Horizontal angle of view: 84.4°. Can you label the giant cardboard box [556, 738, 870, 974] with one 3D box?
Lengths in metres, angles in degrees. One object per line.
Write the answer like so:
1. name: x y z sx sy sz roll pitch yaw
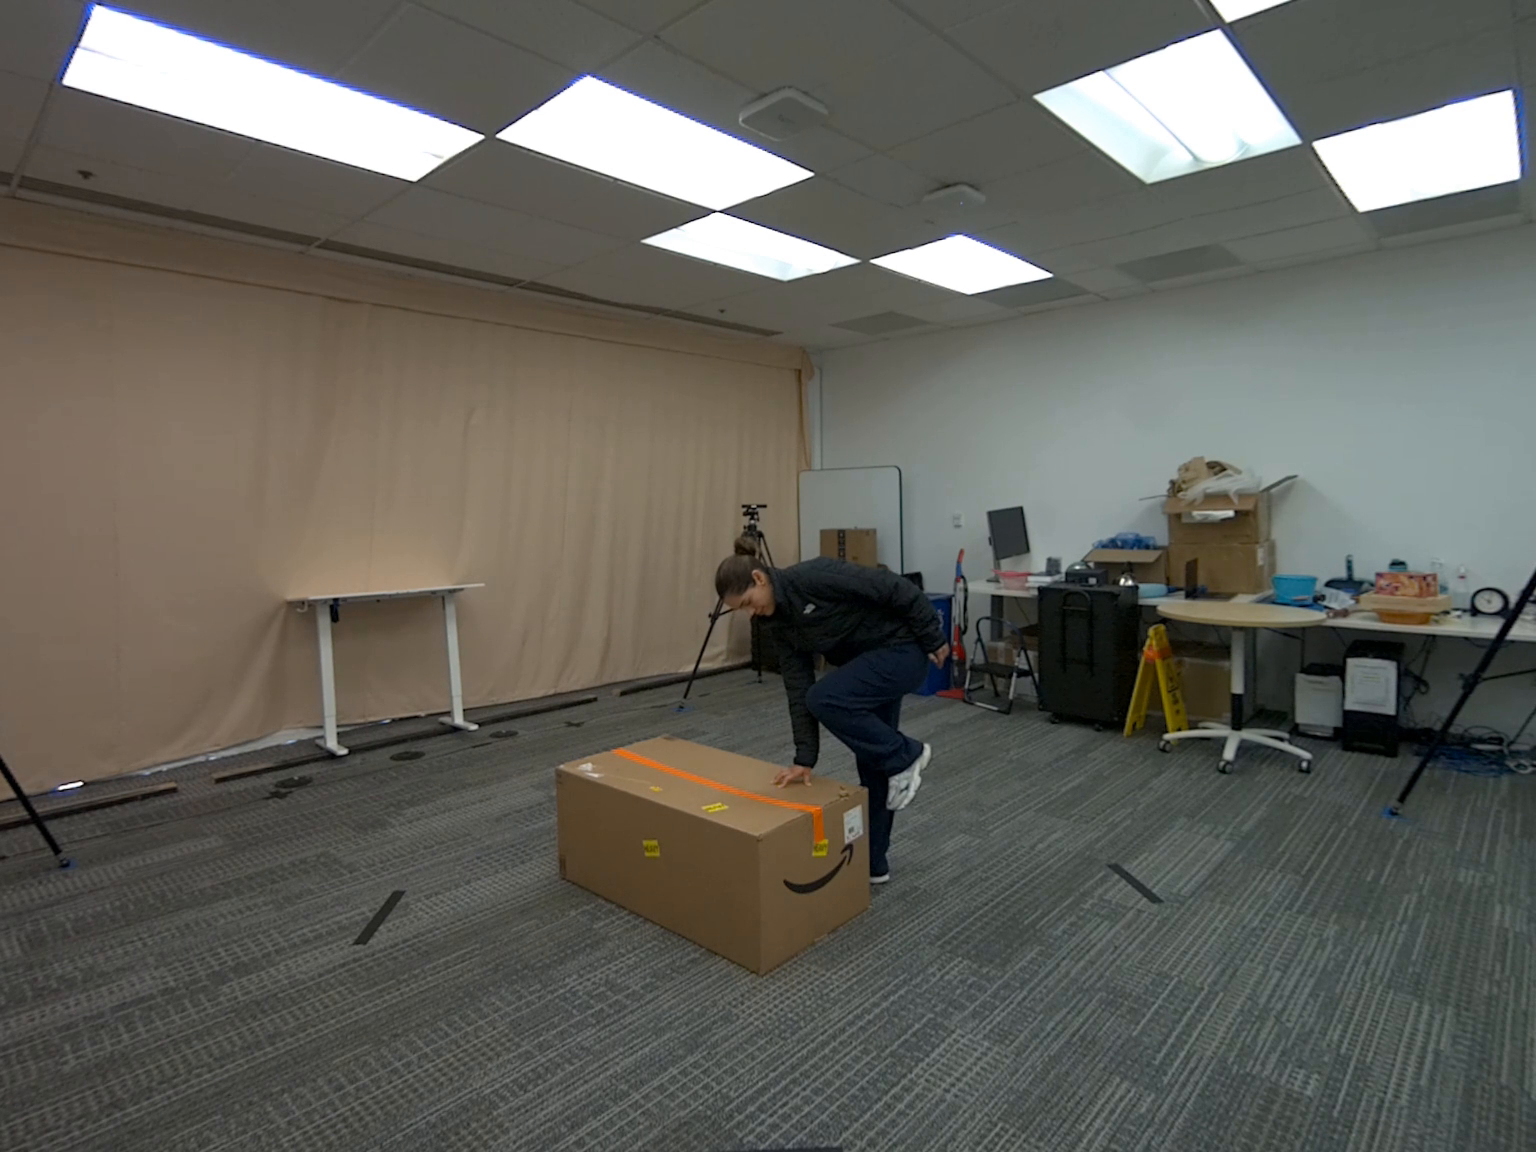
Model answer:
1. giant cardboard box: -0.213 0.933 3.030 1.061 0.446 0.566 2 4 42
